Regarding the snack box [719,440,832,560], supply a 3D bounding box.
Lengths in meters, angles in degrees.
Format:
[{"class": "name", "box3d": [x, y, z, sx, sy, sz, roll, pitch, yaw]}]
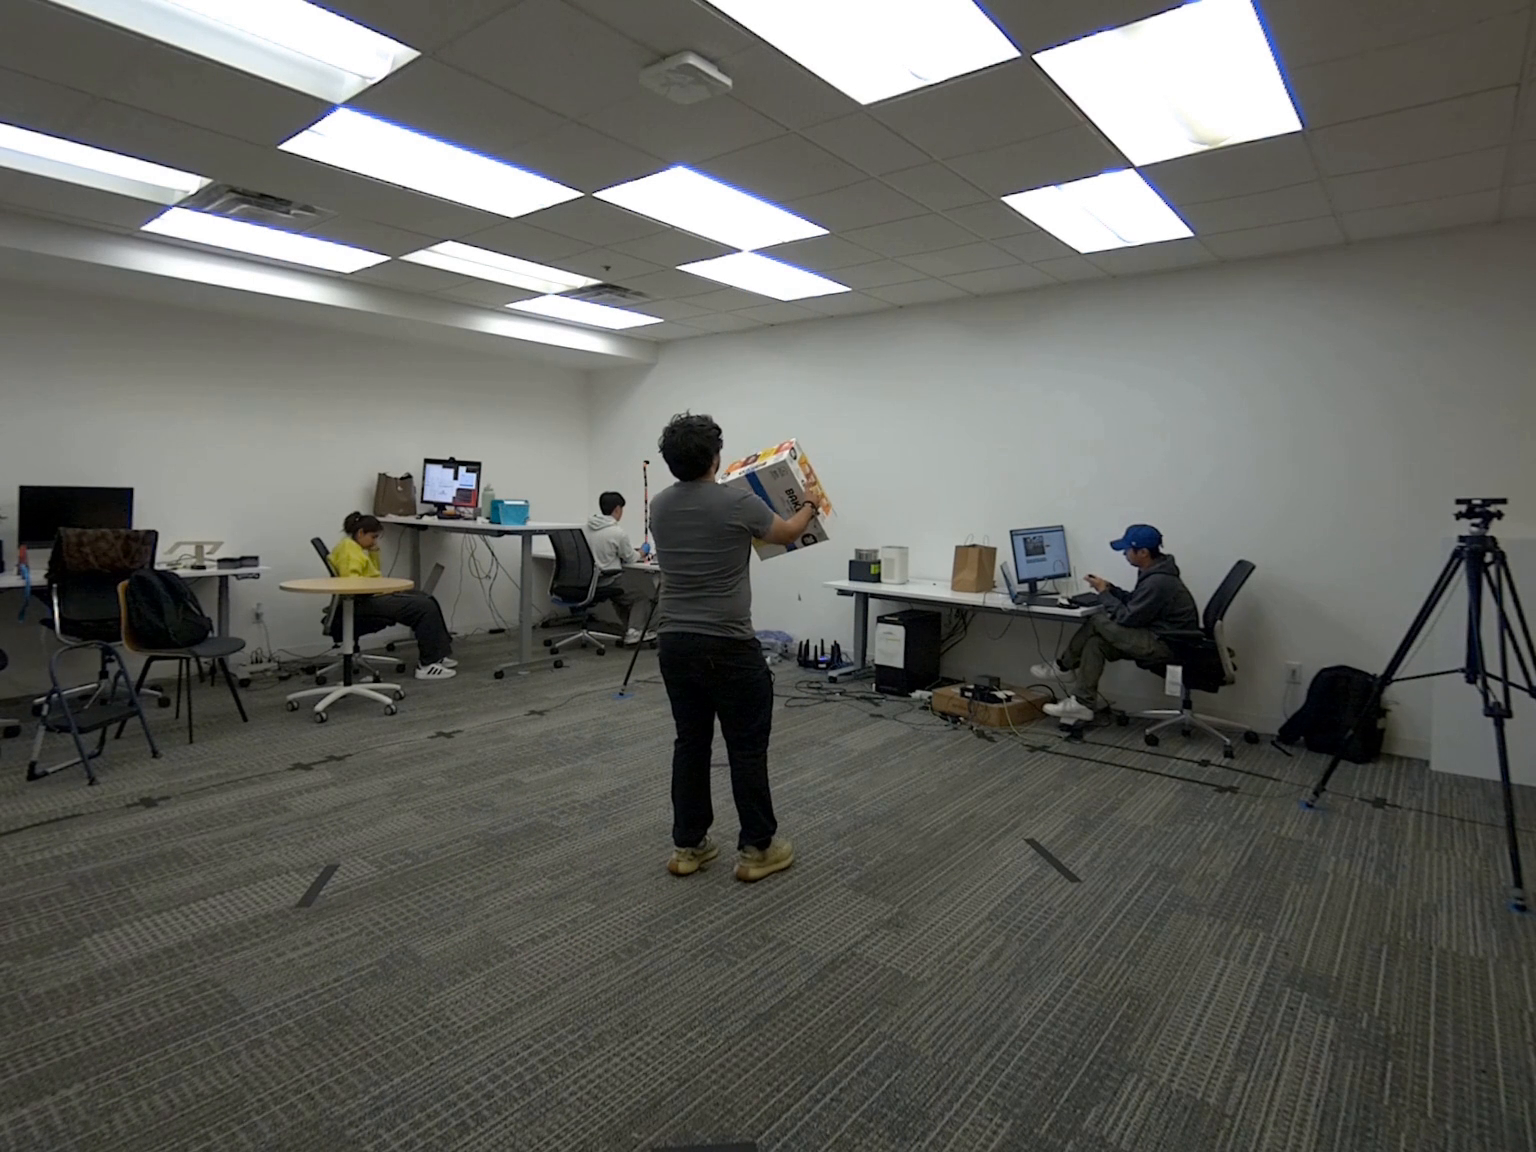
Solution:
[{"class": "snack box", "box3d": [0.041, -0.326, 3.646, 0.346, 0.395, 0.207, -18, 24, 30]}]
